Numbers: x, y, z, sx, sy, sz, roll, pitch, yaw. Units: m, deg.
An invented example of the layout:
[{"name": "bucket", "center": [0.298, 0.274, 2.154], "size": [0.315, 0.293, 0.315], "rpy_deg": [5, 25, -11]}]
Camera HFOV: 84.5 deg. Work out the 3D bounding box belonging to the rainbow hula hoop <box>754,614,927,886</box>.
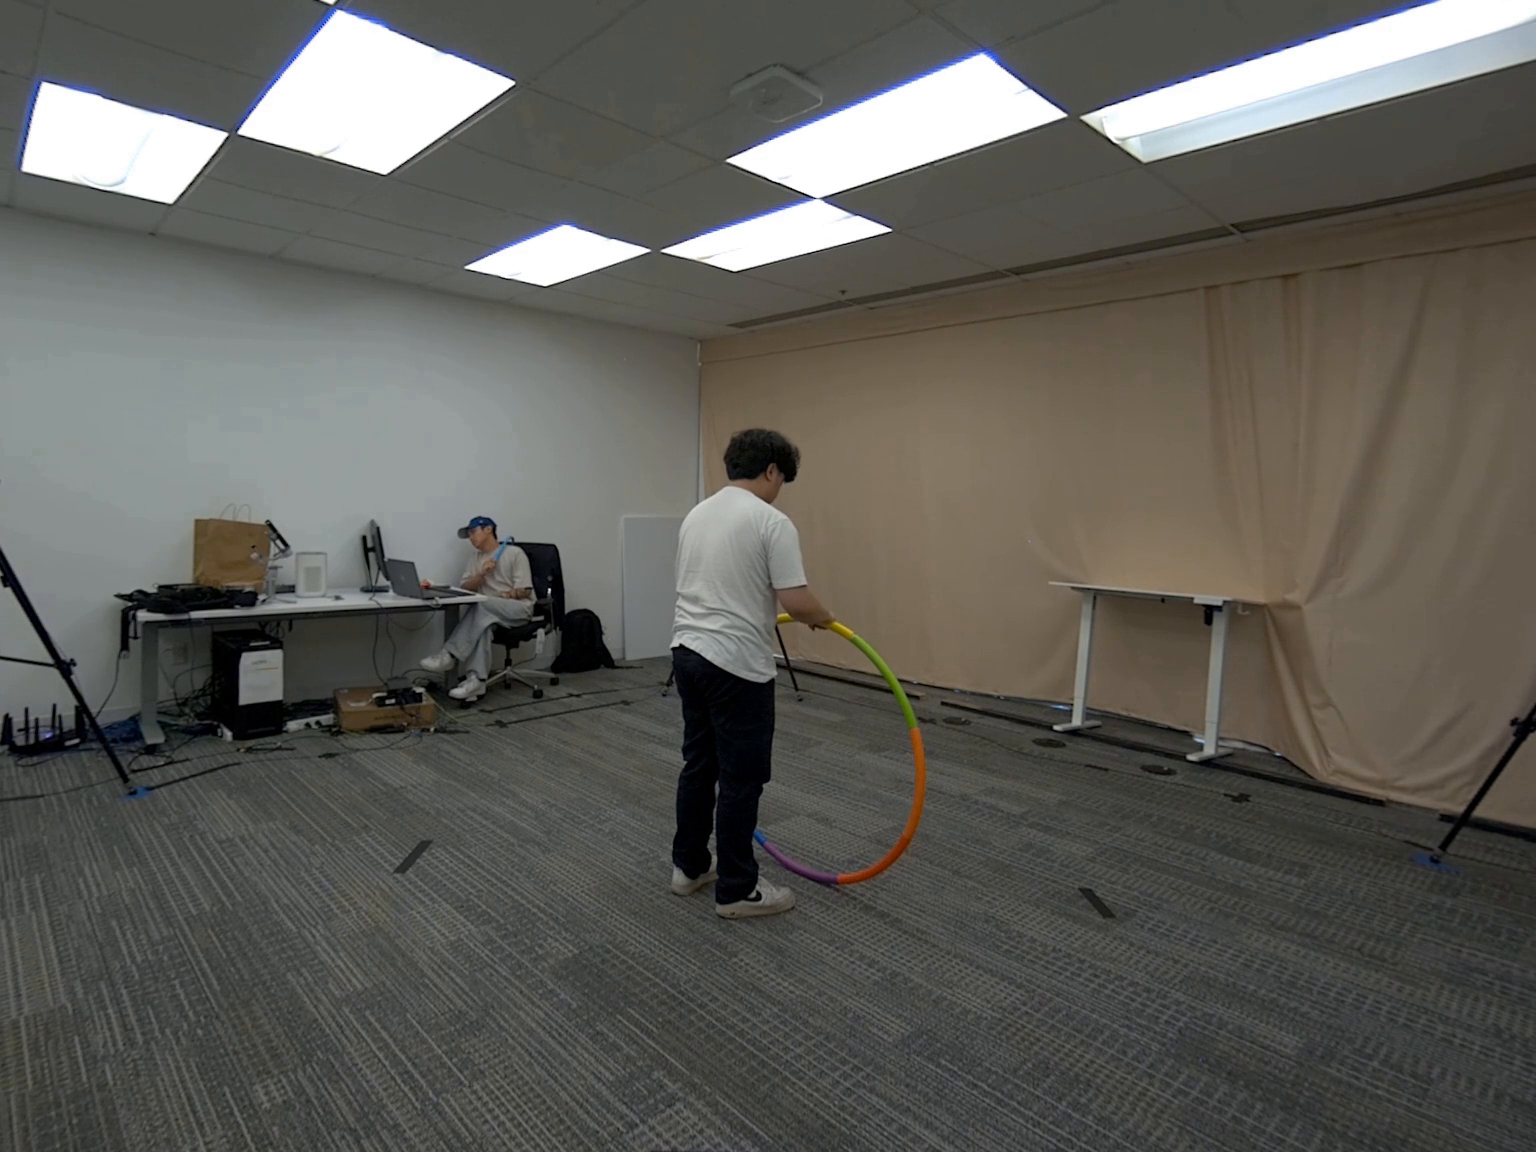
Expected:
[{"name": "rainbow hula hoop", "center": [0.140, 0.628, 3.088], "size": [1.011, 0.982, 0.050], "rpy_deg": [5, 6, 44]}]
